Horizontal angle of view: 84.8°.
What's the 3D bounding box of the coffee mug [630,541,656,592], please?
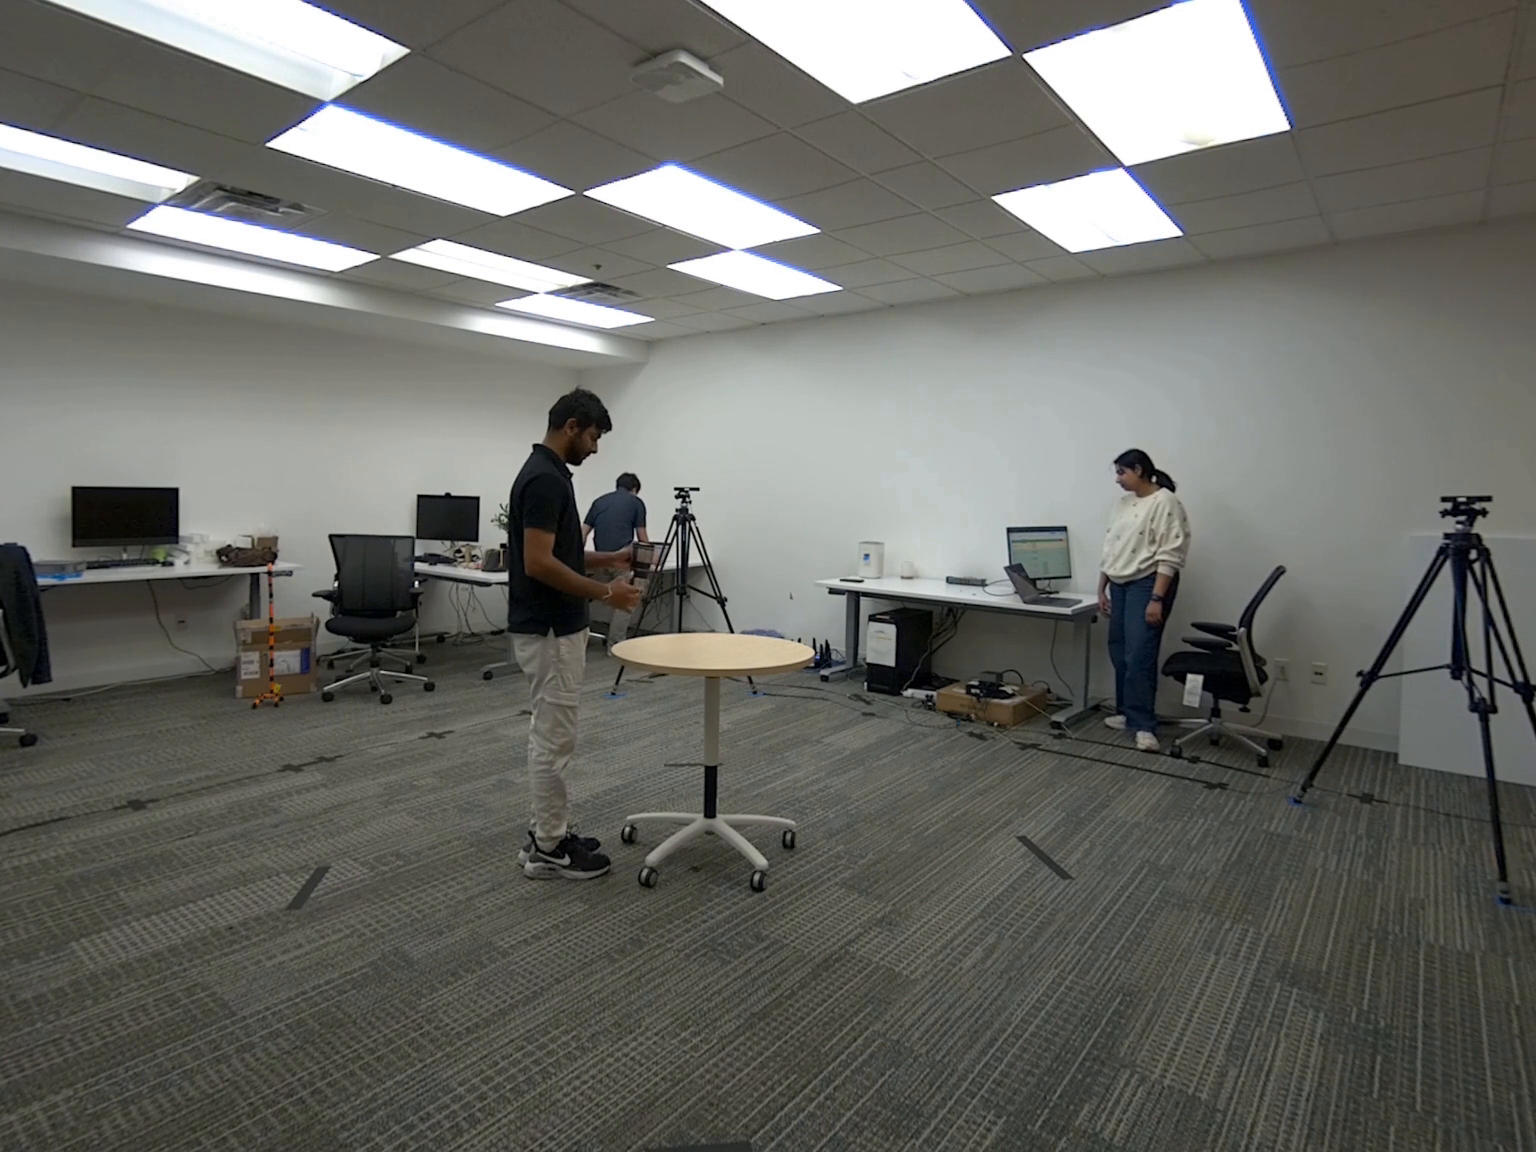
[{"bbox_3d":[-0.472,-0.020,3.129,0.089,0.202,0.121,6,3,9],"label":"coffee mug"}]
